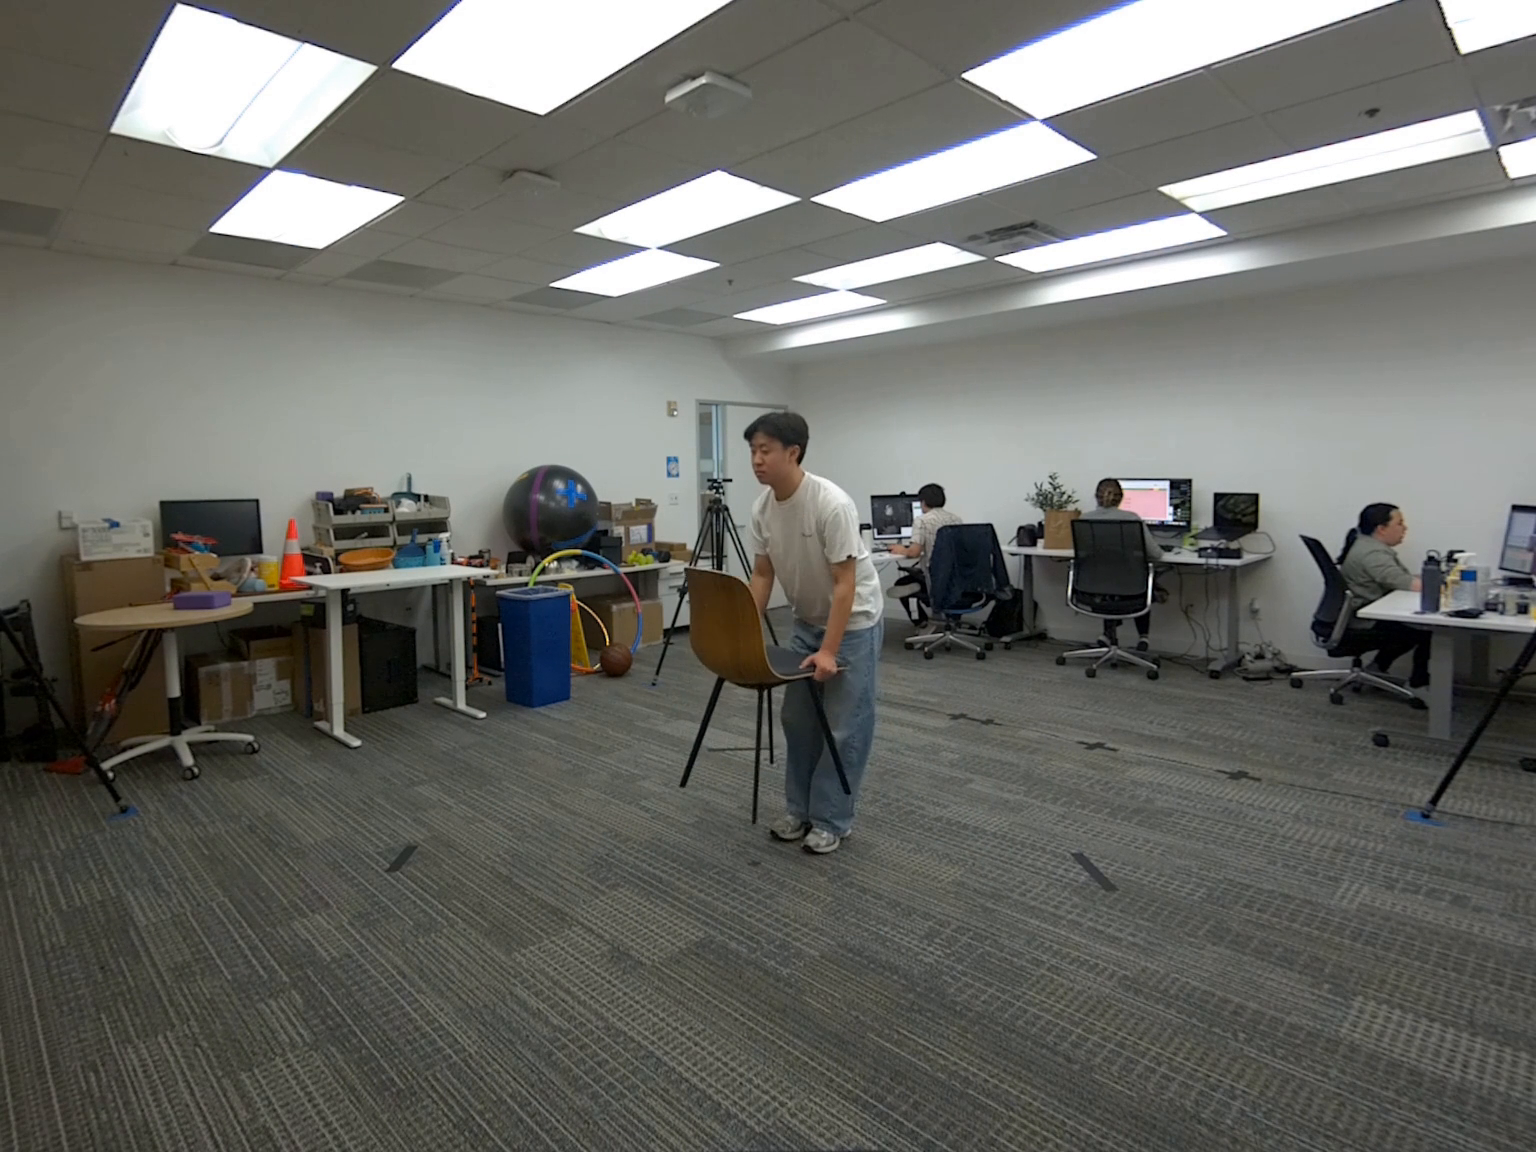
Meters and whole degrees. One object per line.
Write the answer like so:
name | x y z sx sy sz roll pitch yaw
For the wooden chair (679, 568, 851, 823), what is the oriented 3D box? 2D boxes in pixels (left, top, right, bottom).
wooden chair | -0.020 0.379 3.120 0.511 0.872 0.492 -8 8 -37
